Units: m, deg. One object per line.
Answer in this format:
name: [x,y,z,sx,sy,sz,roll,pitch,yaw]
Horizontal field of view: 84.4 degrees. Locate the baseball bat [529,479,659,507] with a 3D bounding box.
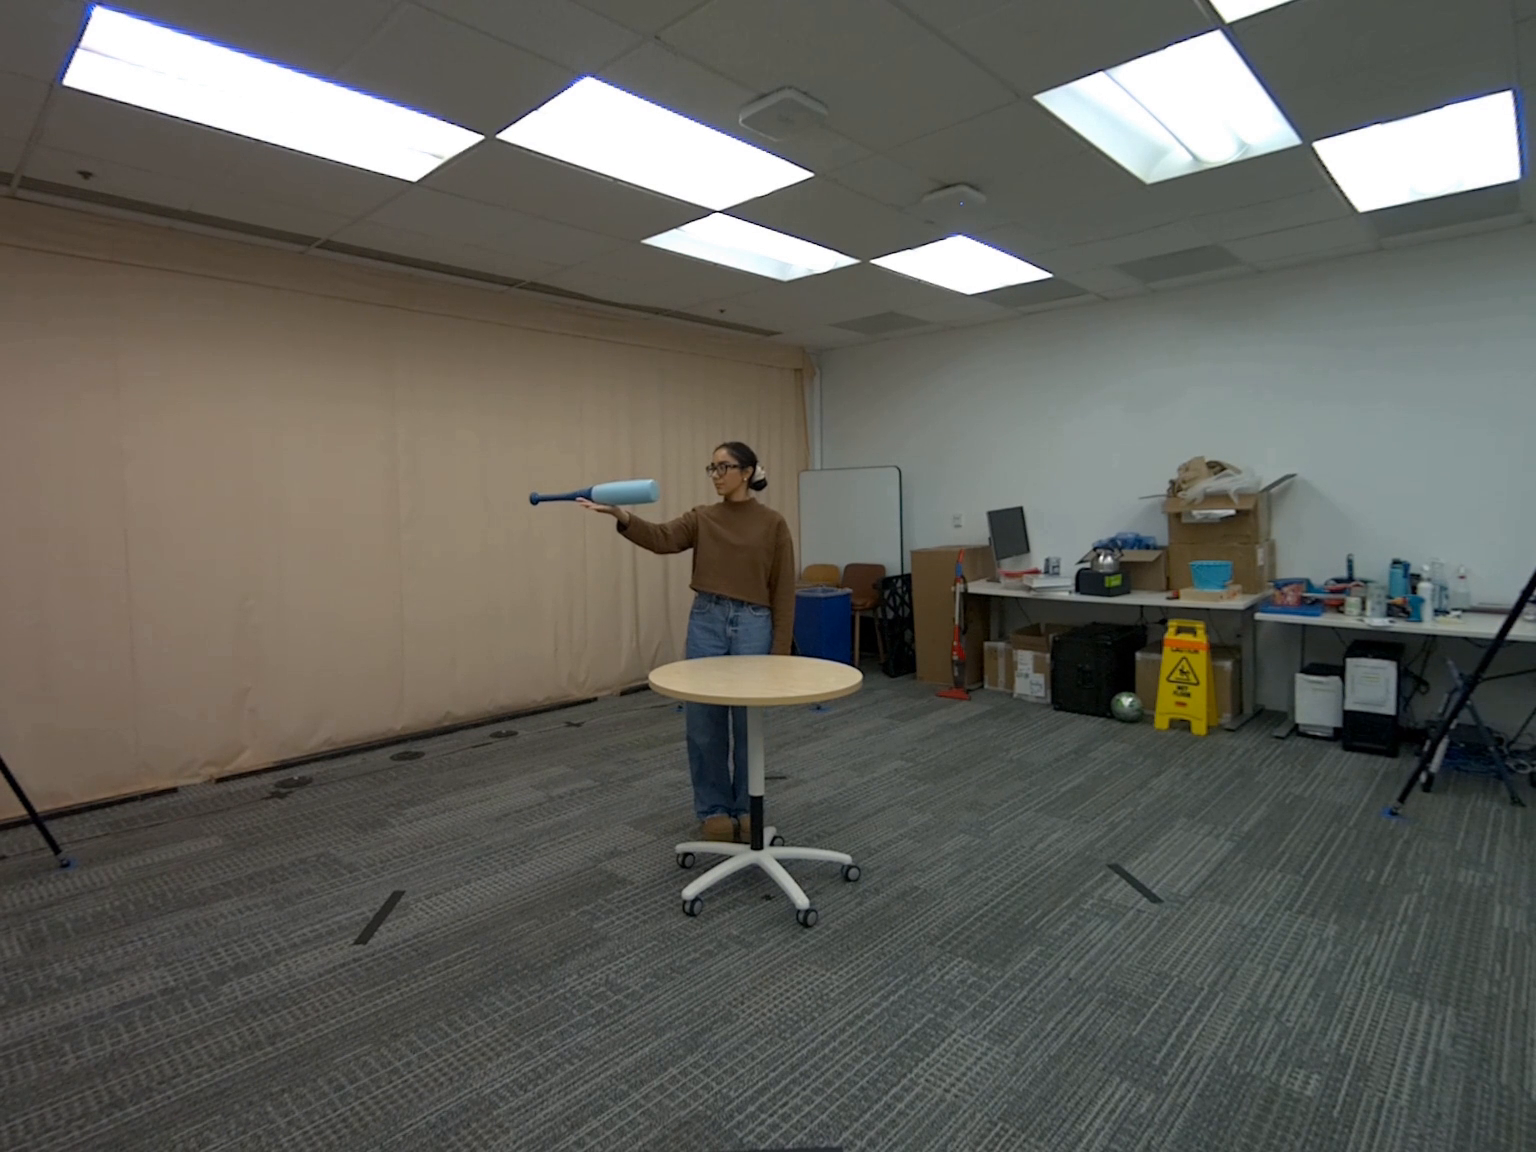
baseball bat: [-0.667,-0.302,3.177,0.555,0.089,0.087,-2,3,22]
